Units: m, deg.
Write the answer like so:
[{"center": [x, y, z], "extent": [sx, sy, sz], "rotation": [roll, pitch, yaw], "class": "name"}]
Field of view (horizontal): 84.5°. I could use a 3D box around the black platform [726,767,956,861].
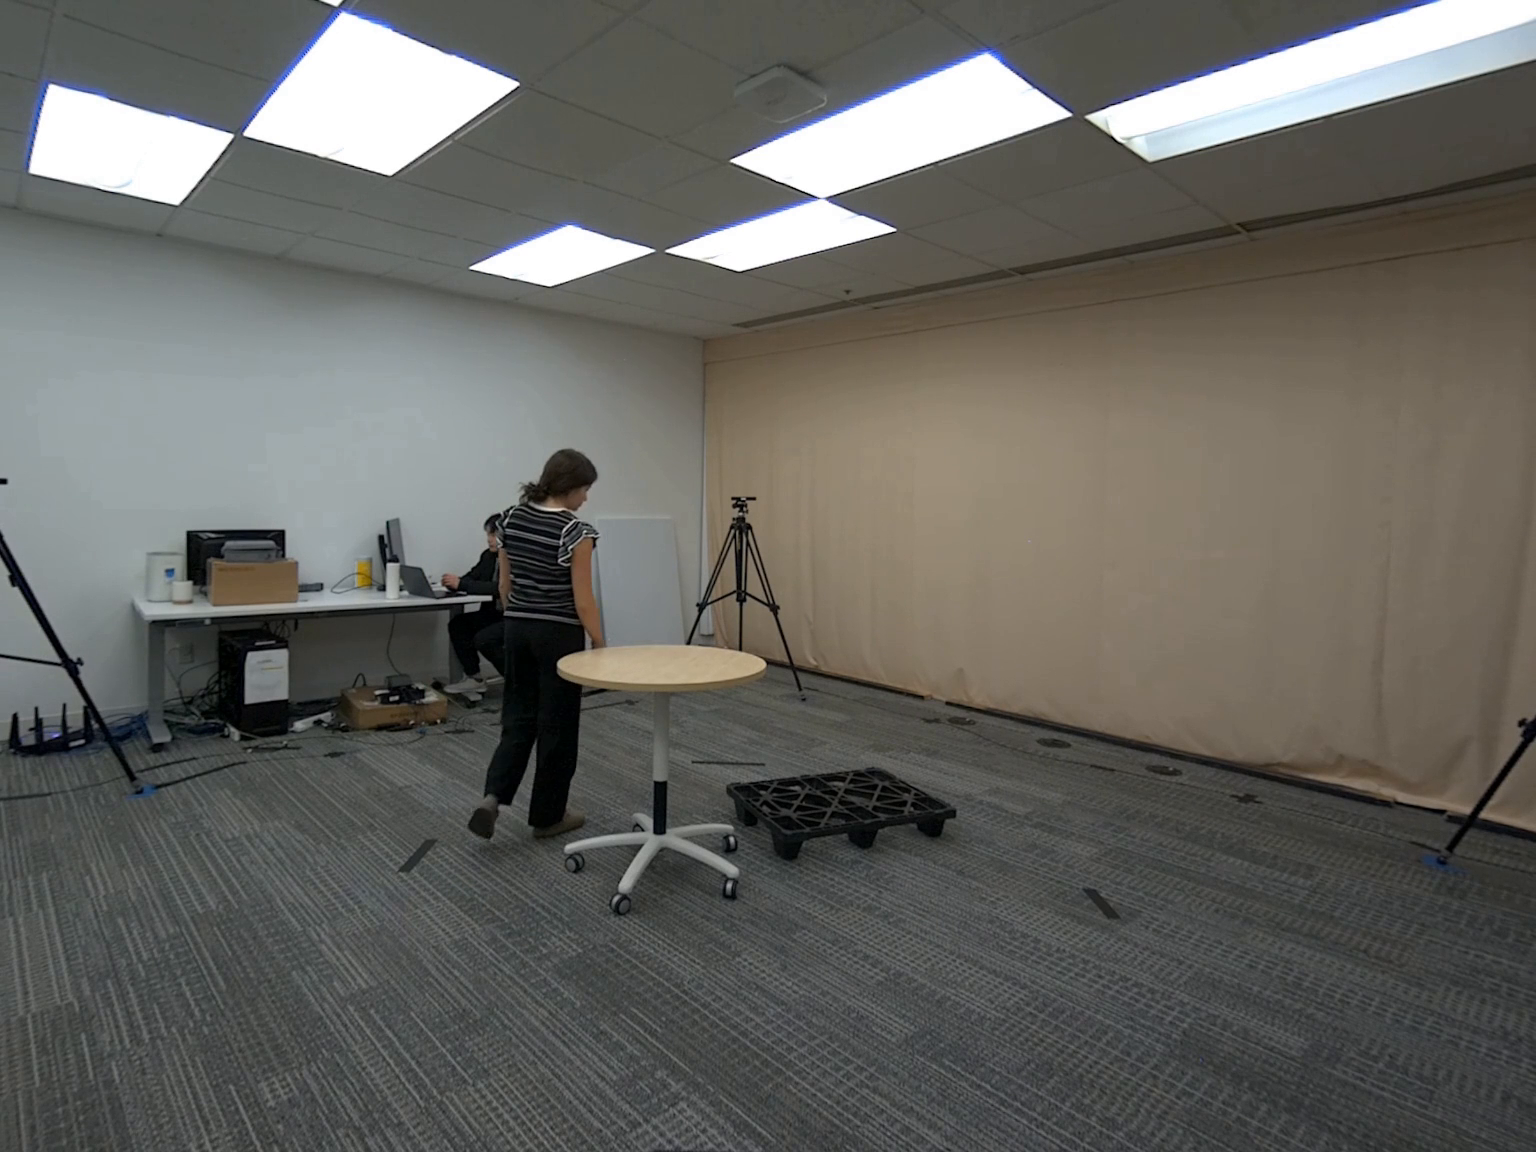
[{"center": [0.288, 1.008, 3.599], "extent": [0.791, 0.143, 0.617], "rotation": [-1, 6, -24], "class": "black platform"}]
